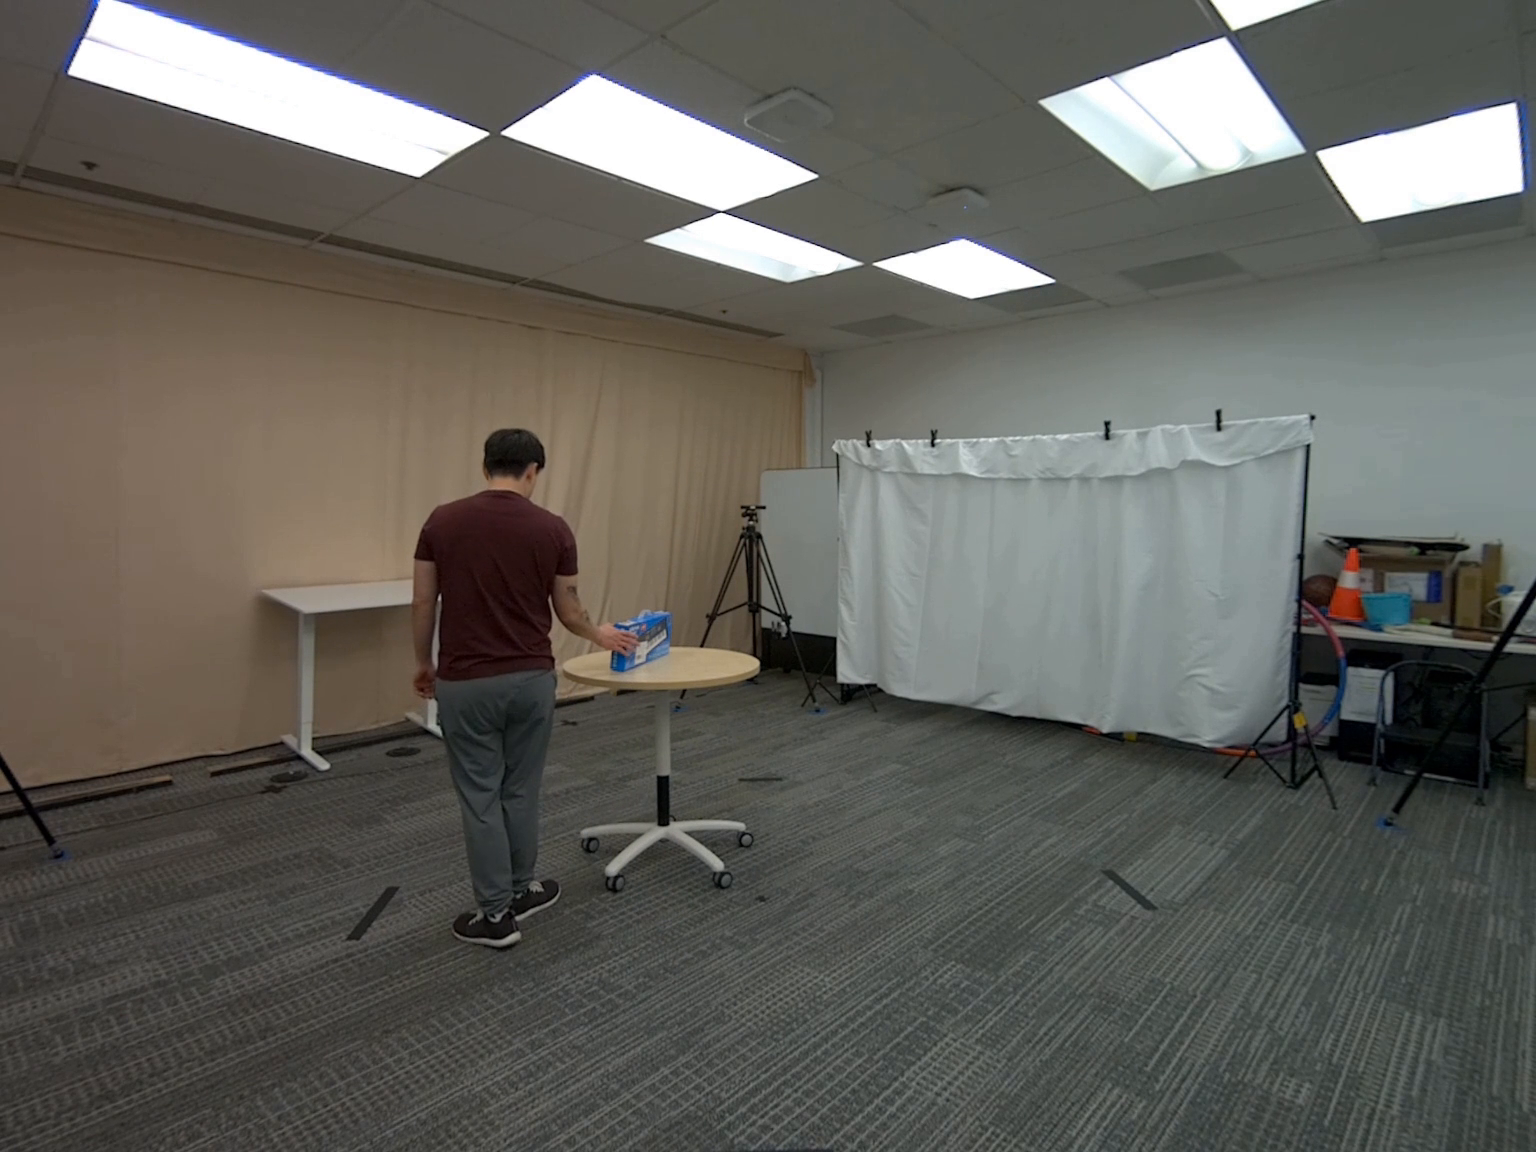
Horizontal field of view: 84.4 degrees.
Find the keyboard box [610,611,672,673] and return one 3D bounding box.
[{"bbox_3d":[-0.491,0.250,3.313,0.060,0.175,0.429,8,6,15],"label":"keyboard box"}]
